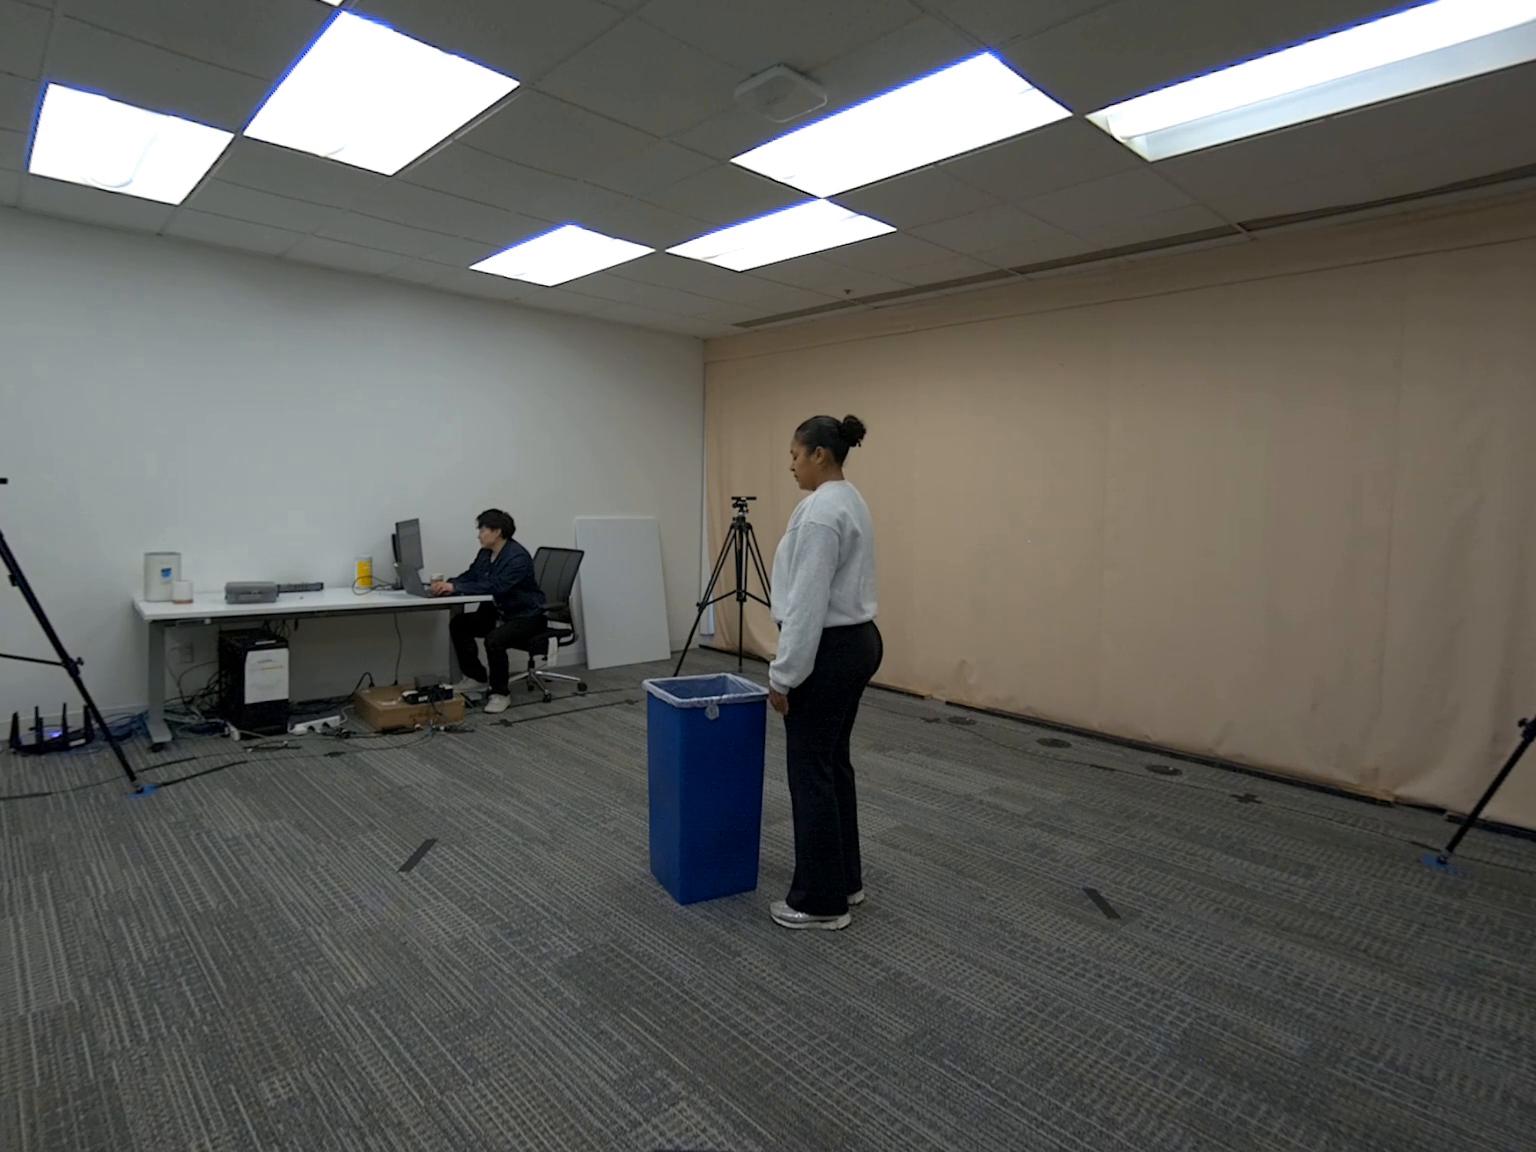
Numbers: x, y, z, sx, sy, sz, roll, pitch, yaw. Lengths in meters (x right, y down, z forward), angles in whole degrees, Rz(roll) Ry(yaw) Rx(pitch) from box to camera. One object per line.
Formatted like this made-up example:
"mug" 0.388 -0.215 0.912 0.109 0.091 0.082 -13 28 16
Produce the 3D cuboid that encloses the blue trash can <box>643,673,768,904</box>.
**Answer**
"blue trash can" -0.232 0.752 3.058 0.366 0.712 0.386 -1 4 -31
